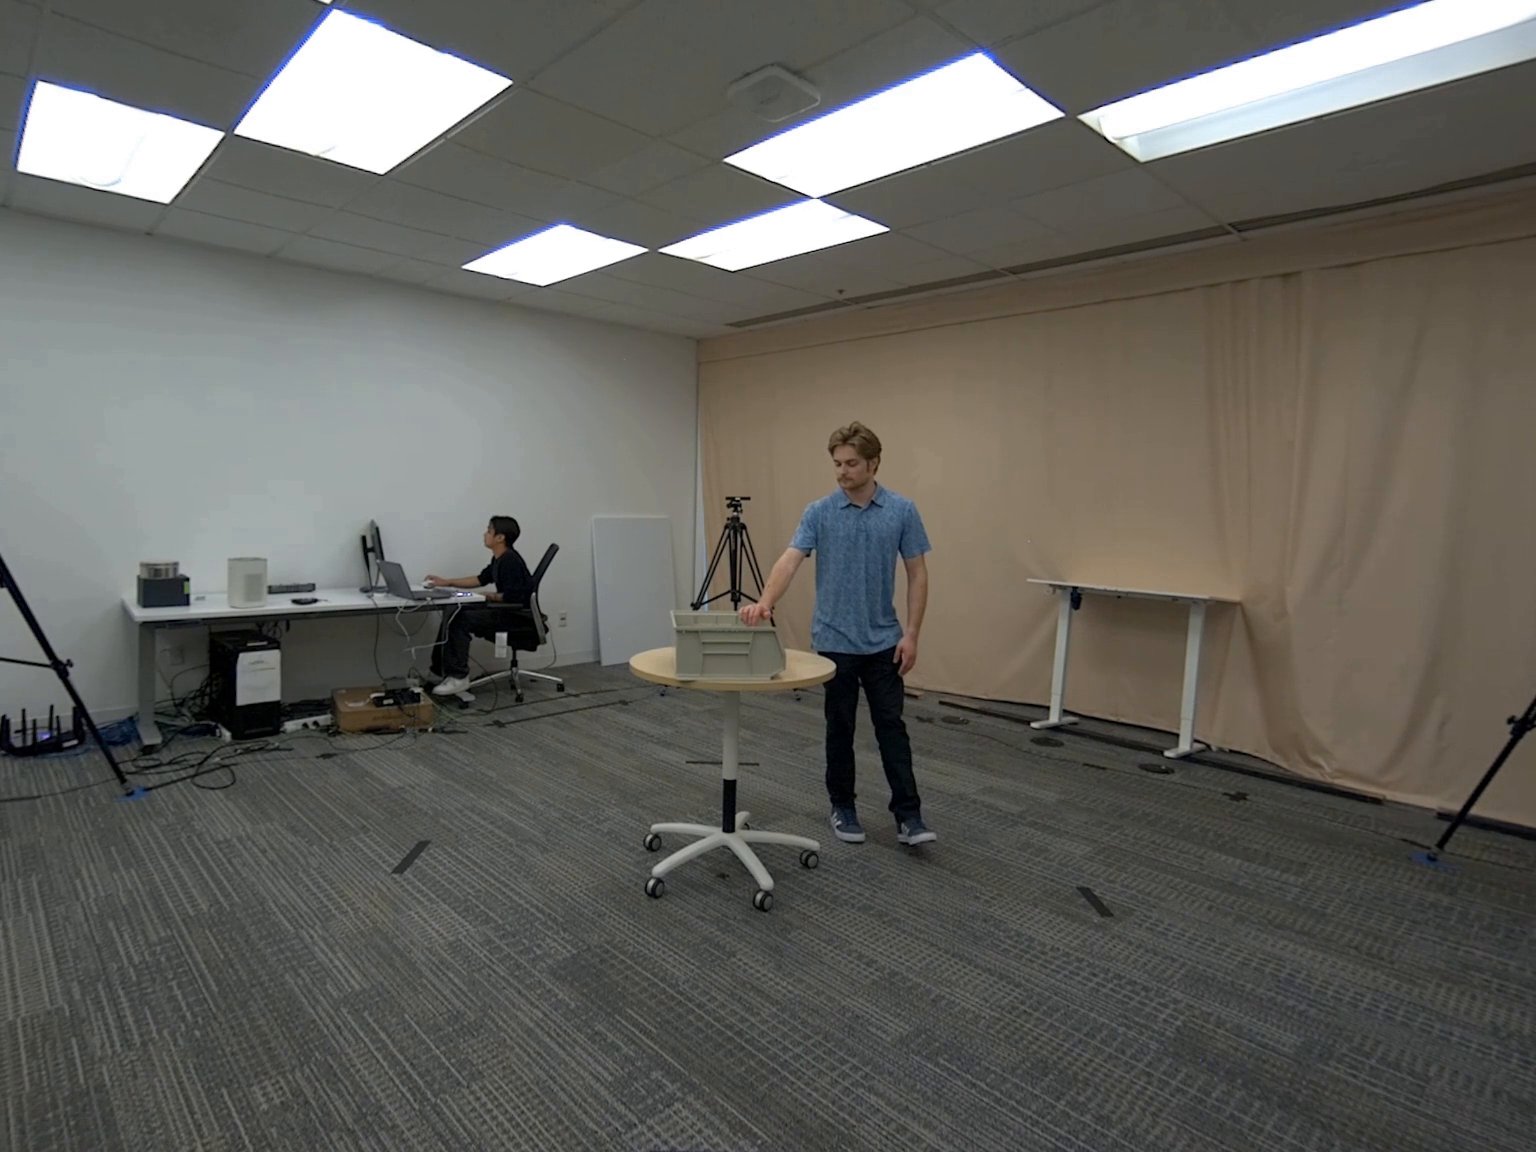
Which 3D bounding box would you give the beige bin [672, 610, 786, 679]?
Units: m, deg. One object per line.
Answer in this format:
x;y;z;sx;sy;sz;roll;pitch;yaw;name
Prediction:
-0.159;0.240;2.989;0.375;0.188;0.426;-1;6;-7;beige bin
